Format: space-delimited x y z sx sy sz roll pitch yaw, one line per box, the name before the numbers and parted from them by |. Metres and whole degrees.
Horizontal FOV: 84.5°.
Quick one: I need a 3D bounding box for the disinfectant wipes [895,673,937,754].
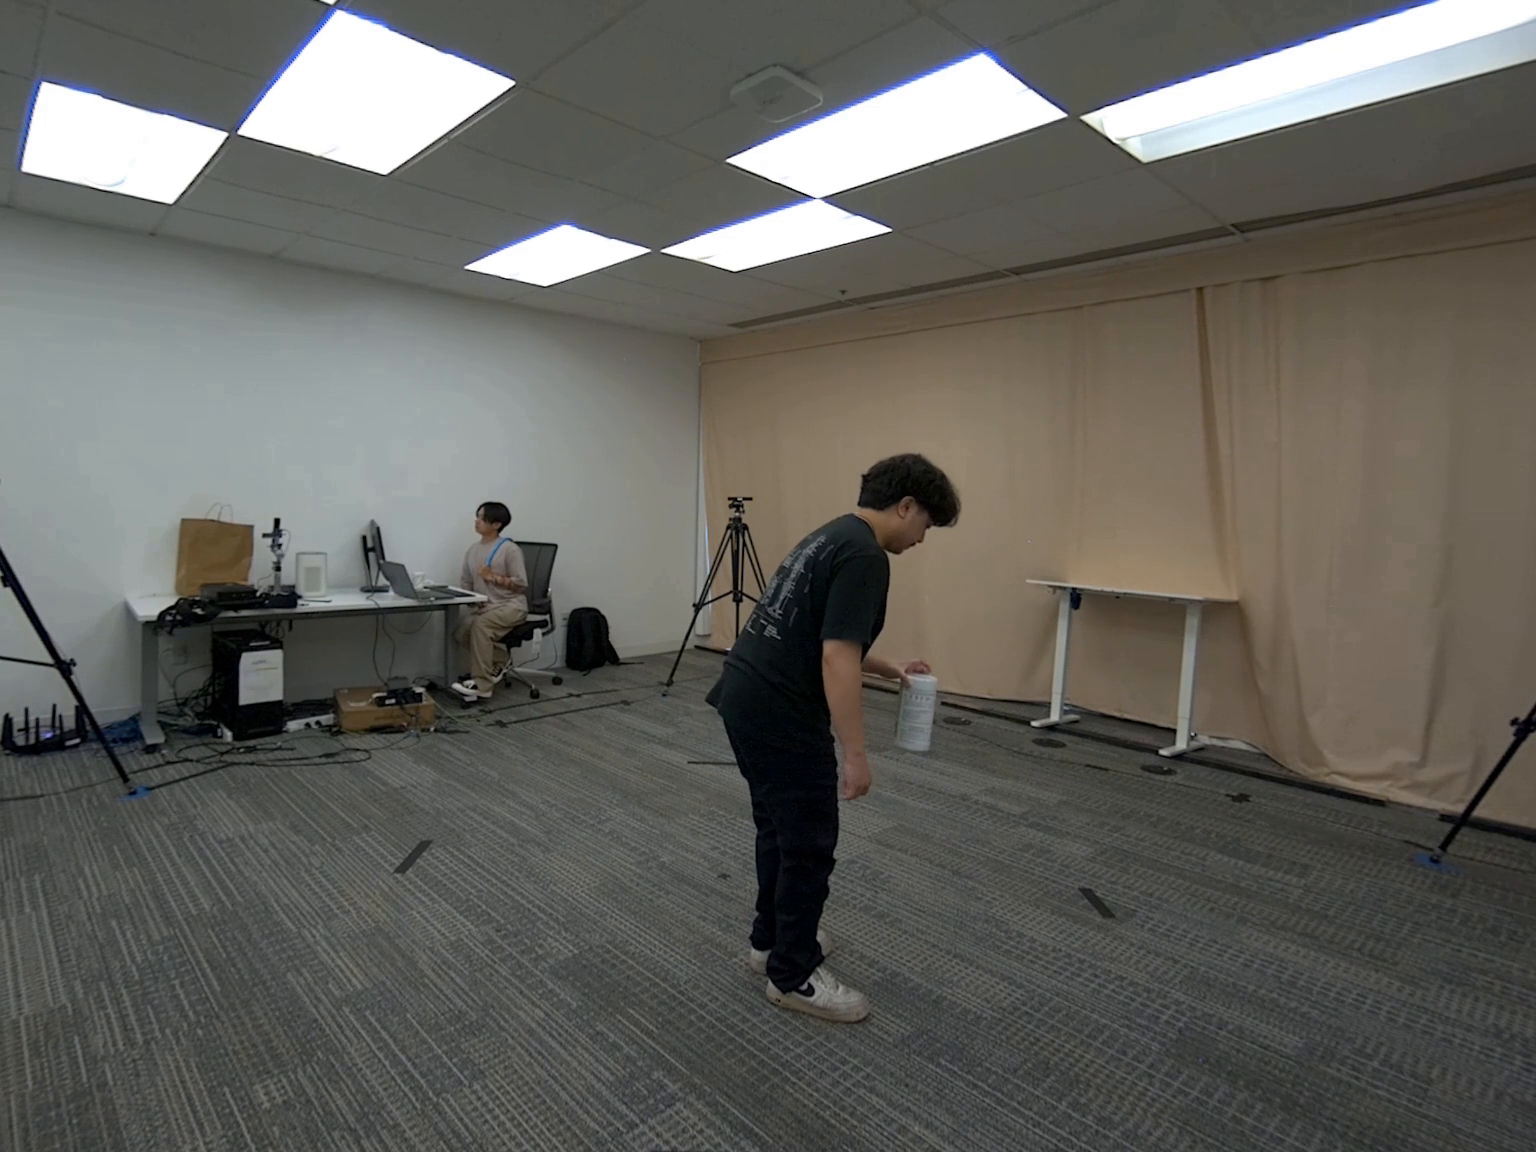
disinfectant wipes | 0.424 0.412 2.505 0.117 0.217 0.118 6 4 -2
